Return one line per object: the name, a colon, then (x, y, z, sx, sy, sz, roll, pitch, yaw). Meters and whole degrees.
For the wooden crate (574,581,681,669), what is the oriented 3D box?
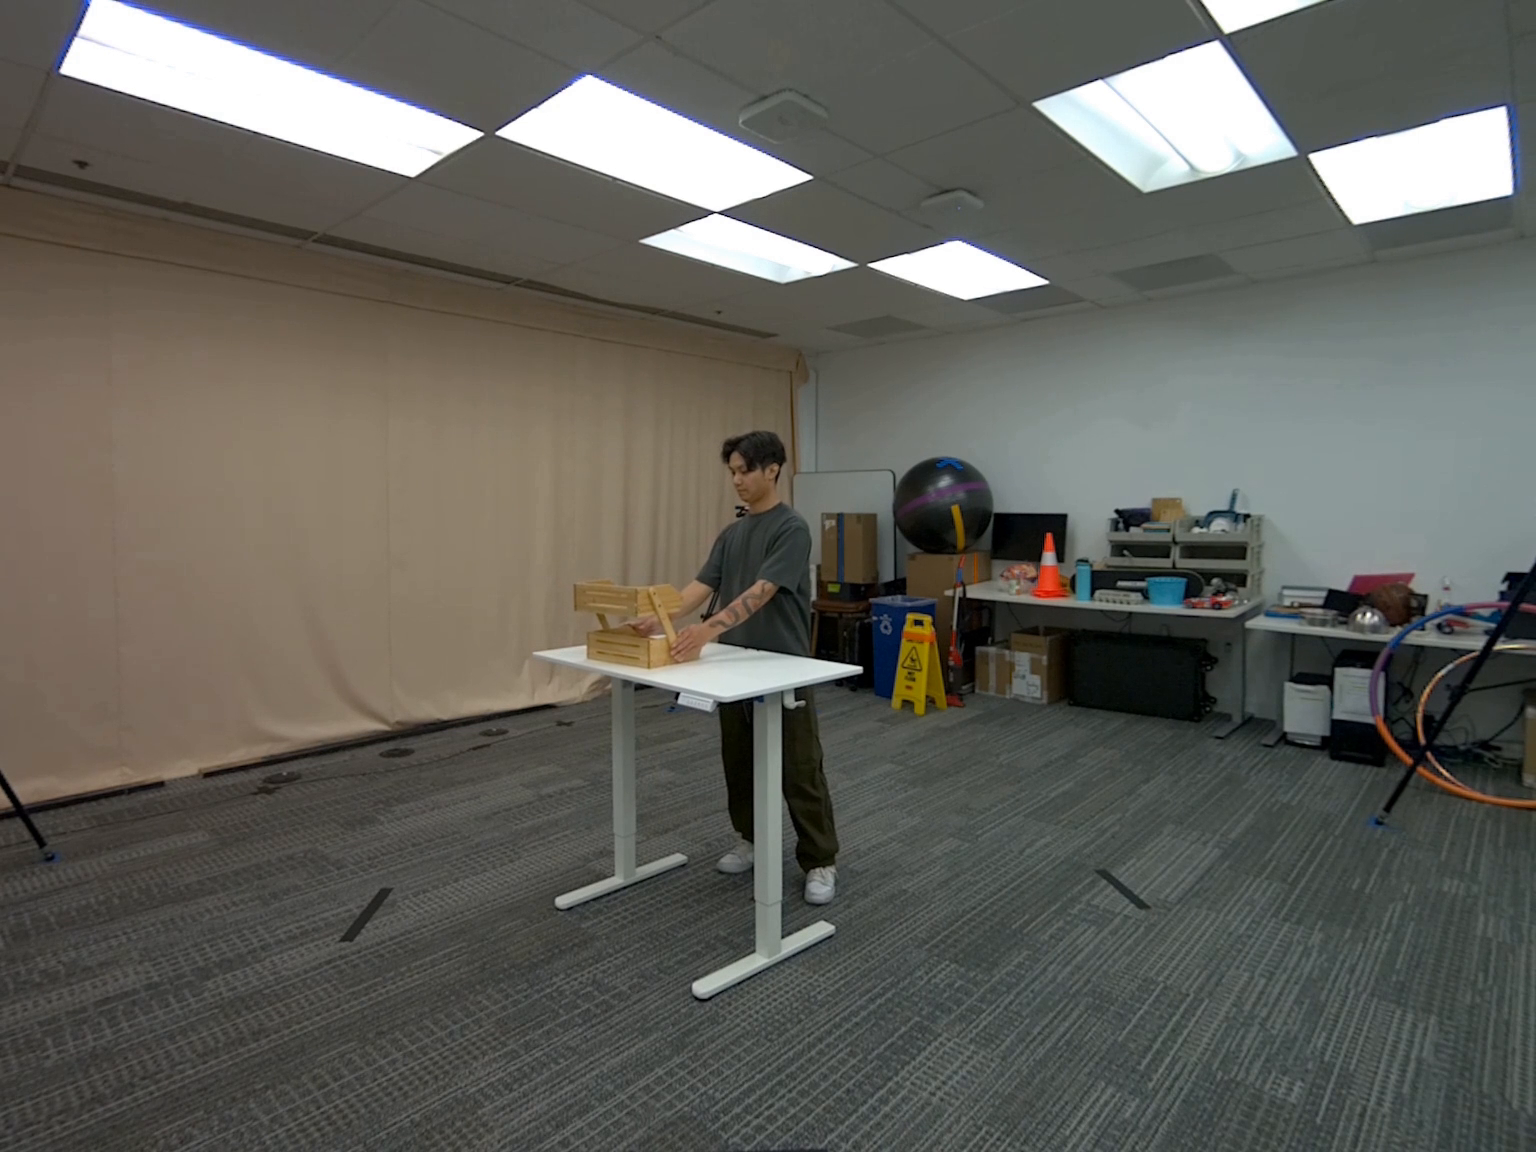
wooden crate: (-0.428, 0.146, 2.809, 0.335, 0.273, 0.293, 2, 5, 38)
